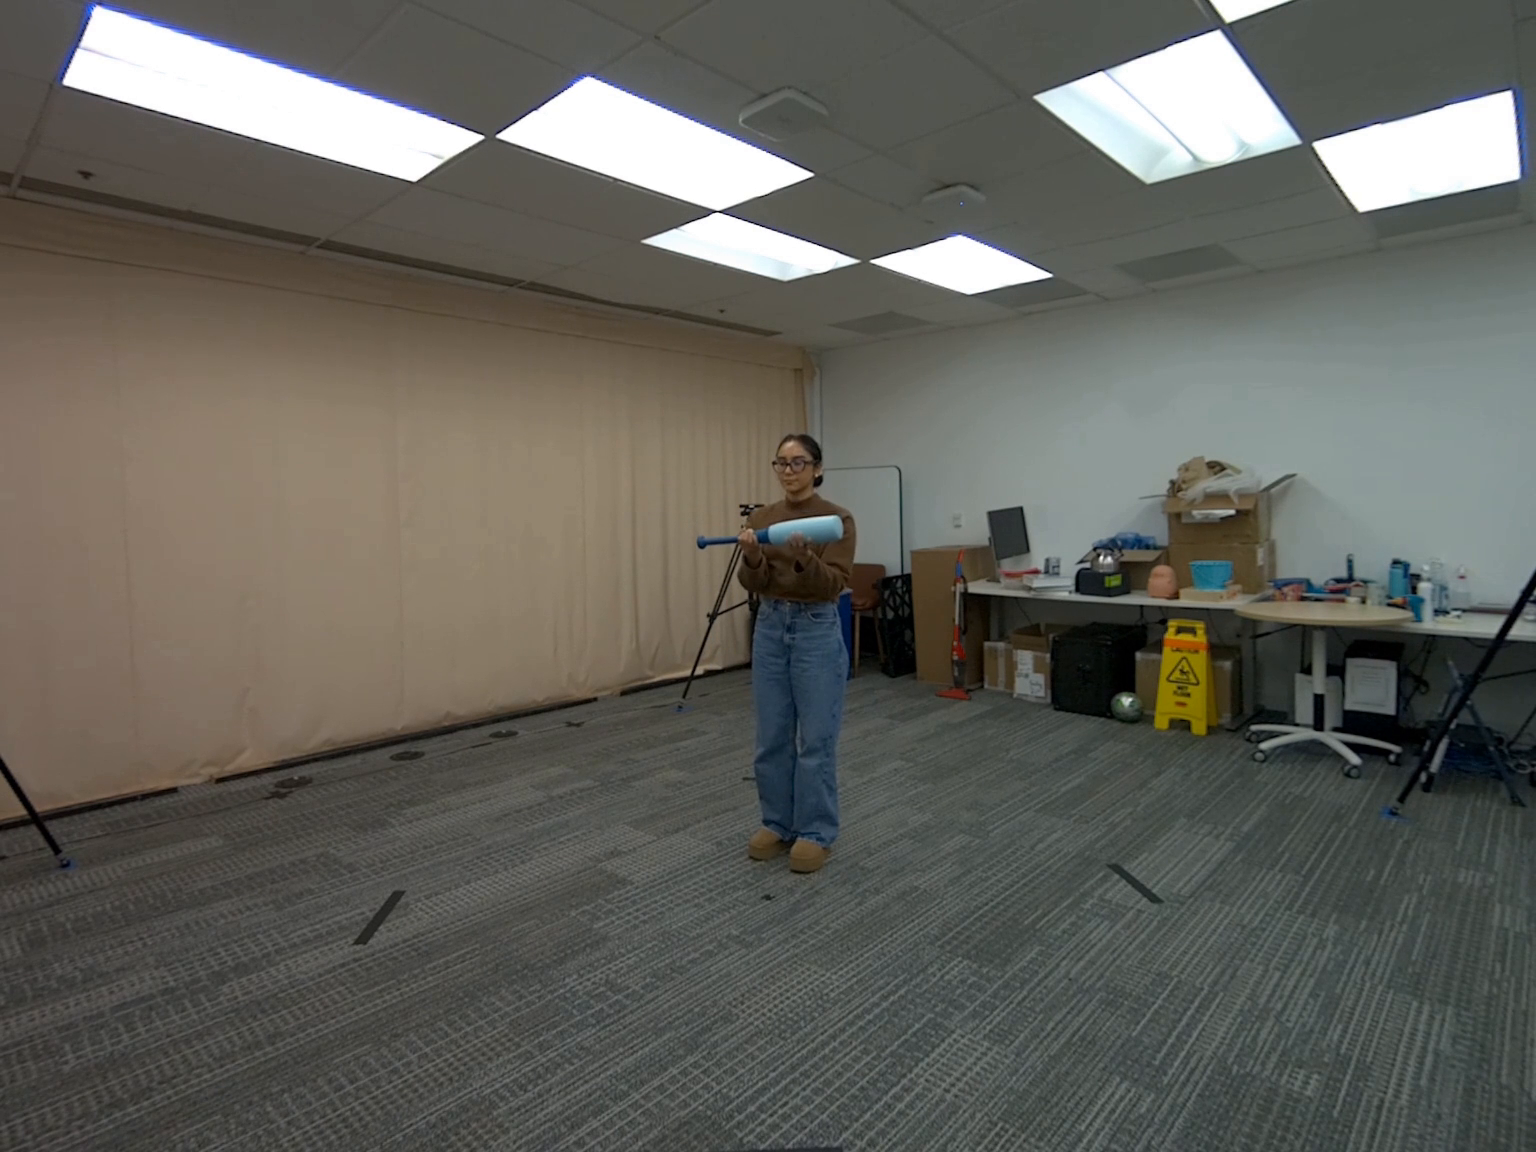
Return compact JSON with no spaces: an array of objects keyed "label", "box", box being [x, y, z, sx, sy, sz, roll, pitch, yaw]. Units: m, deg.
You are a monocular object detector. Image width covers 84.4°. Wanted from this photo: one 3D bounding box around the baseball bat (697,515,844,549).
[{"label":"baseball bat","box":[-0.003,-0.134,2.945,0.556,0.089,0.087,-5,2,25]}]
